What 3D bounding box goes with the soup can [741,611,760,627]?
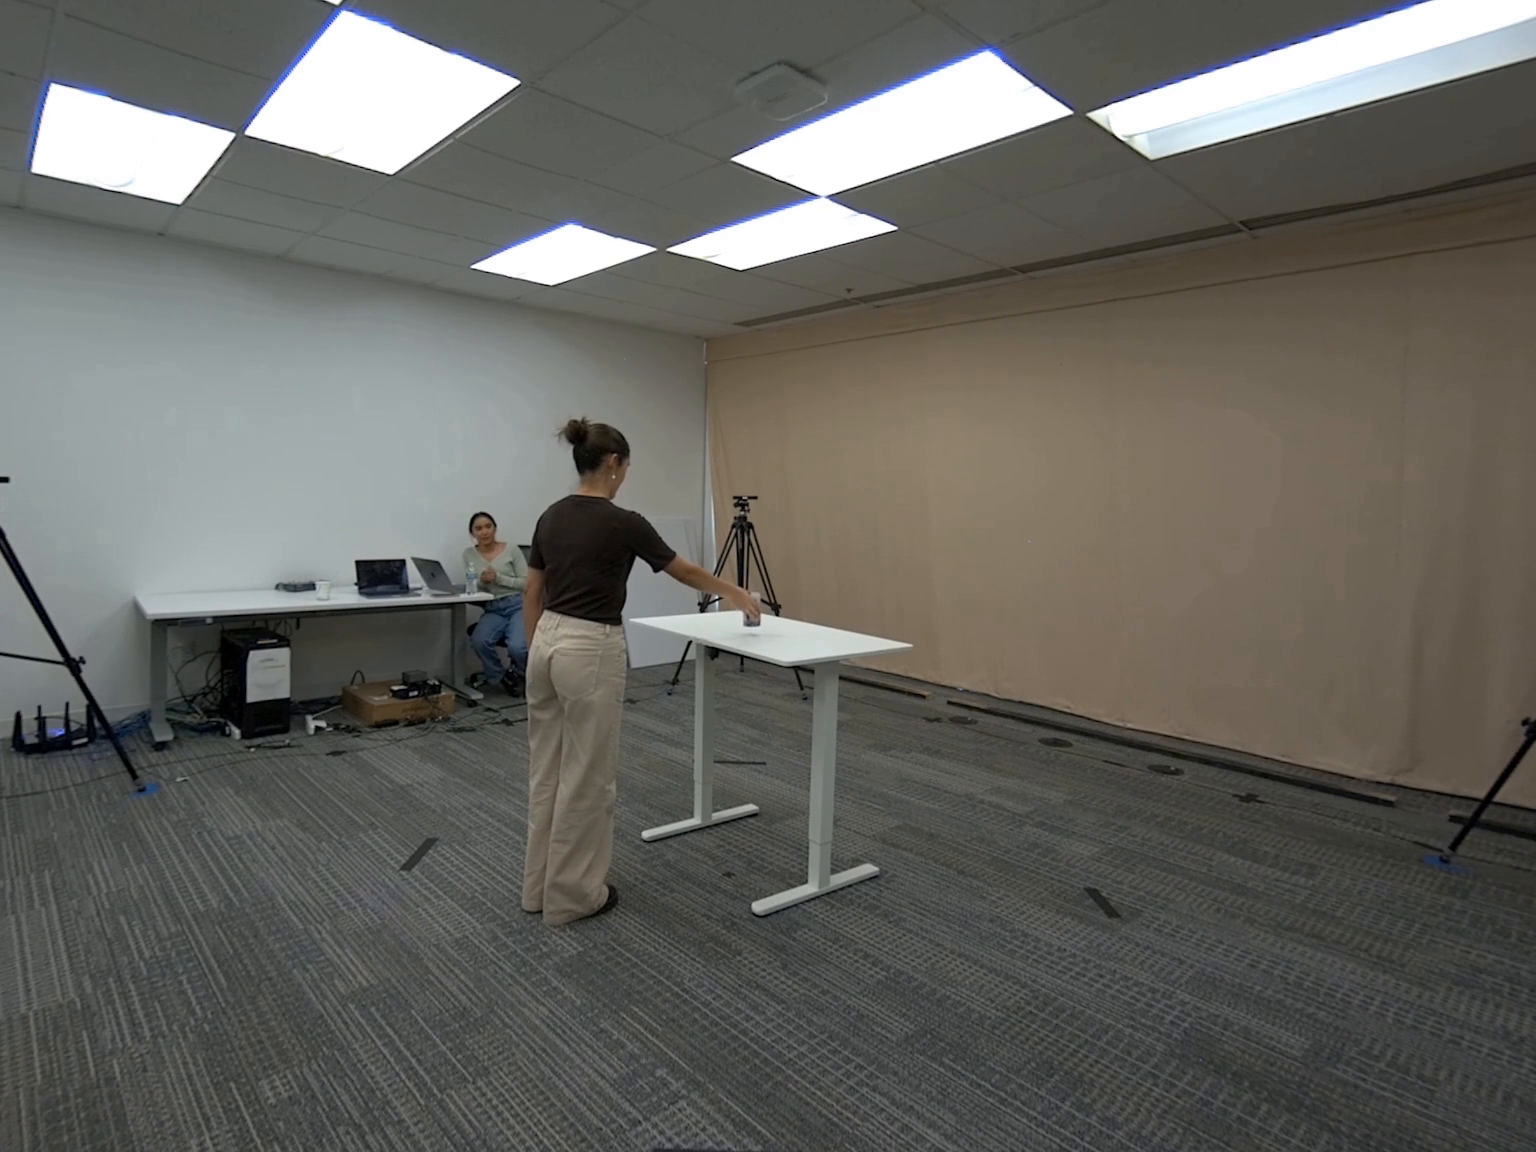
[{"bbox_3d":[-0.067,0.125,3.125,0.067,0.121,0.067,-3,6,-1],"label":"soup can"}]
